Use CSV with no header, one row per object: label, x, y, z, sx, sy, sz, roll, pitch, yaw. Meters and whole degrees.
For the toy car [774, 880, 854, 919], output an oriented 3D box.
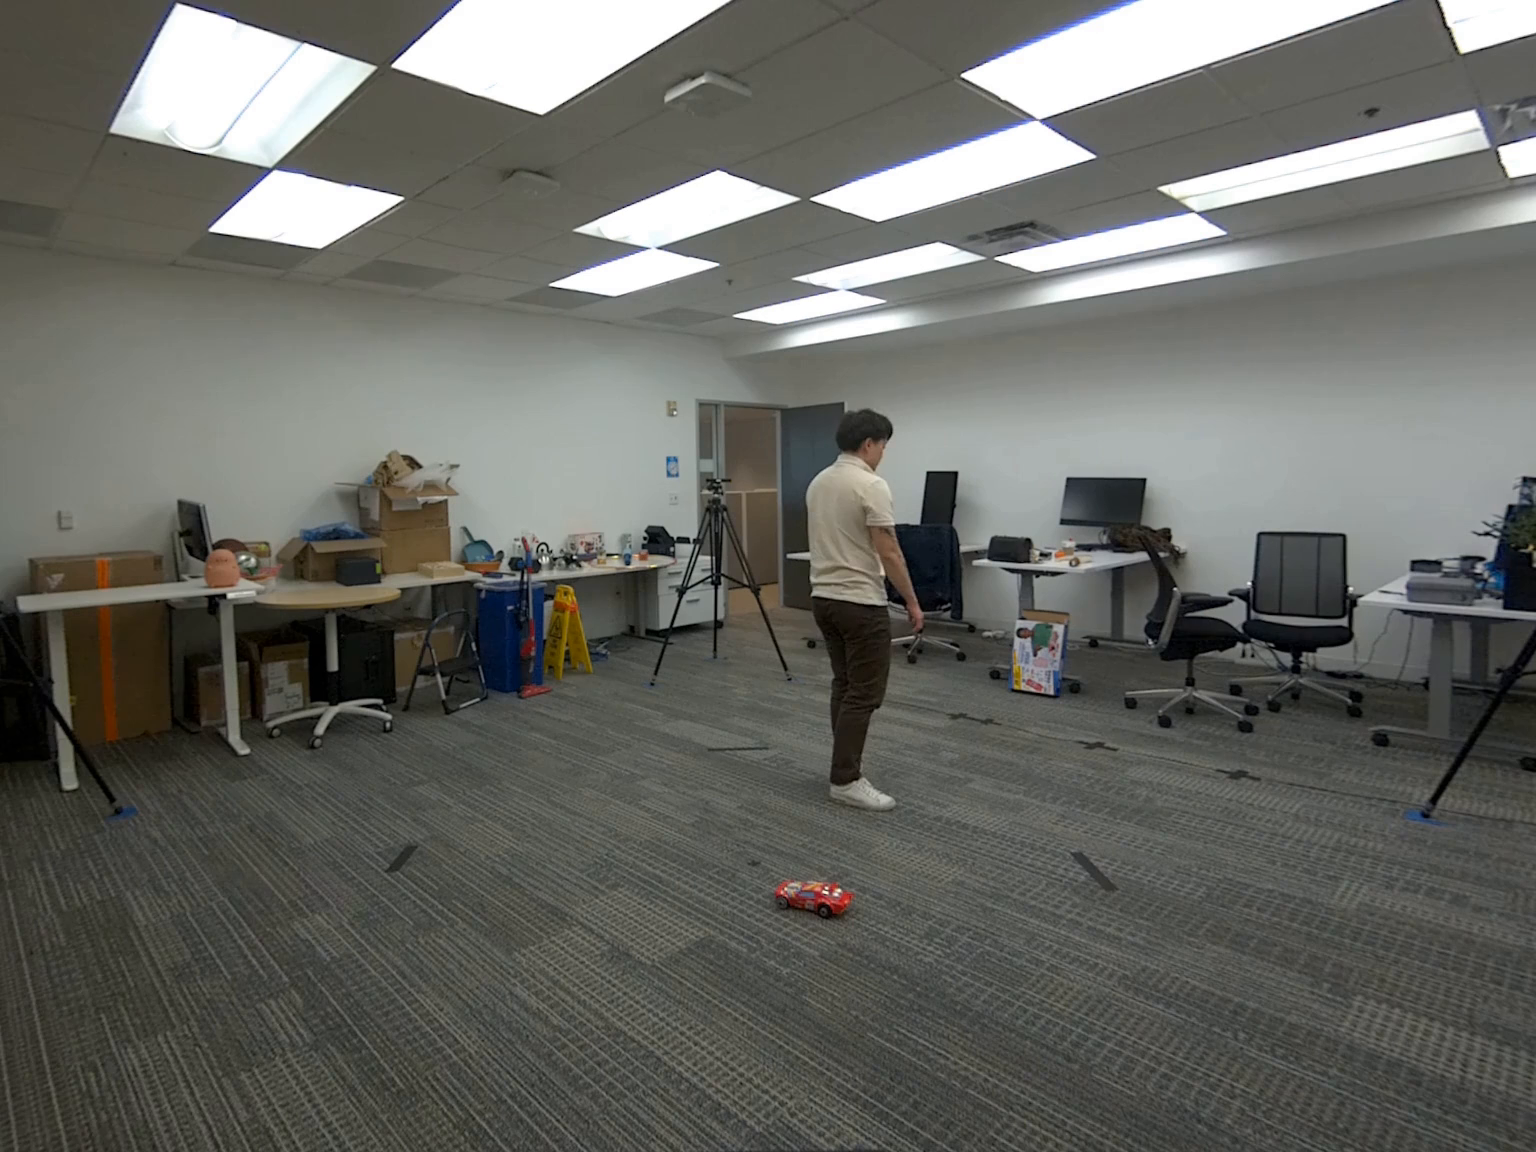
toy car,0.157,1.044,2.778,0.259,0.083,0.128,-10,1,26
